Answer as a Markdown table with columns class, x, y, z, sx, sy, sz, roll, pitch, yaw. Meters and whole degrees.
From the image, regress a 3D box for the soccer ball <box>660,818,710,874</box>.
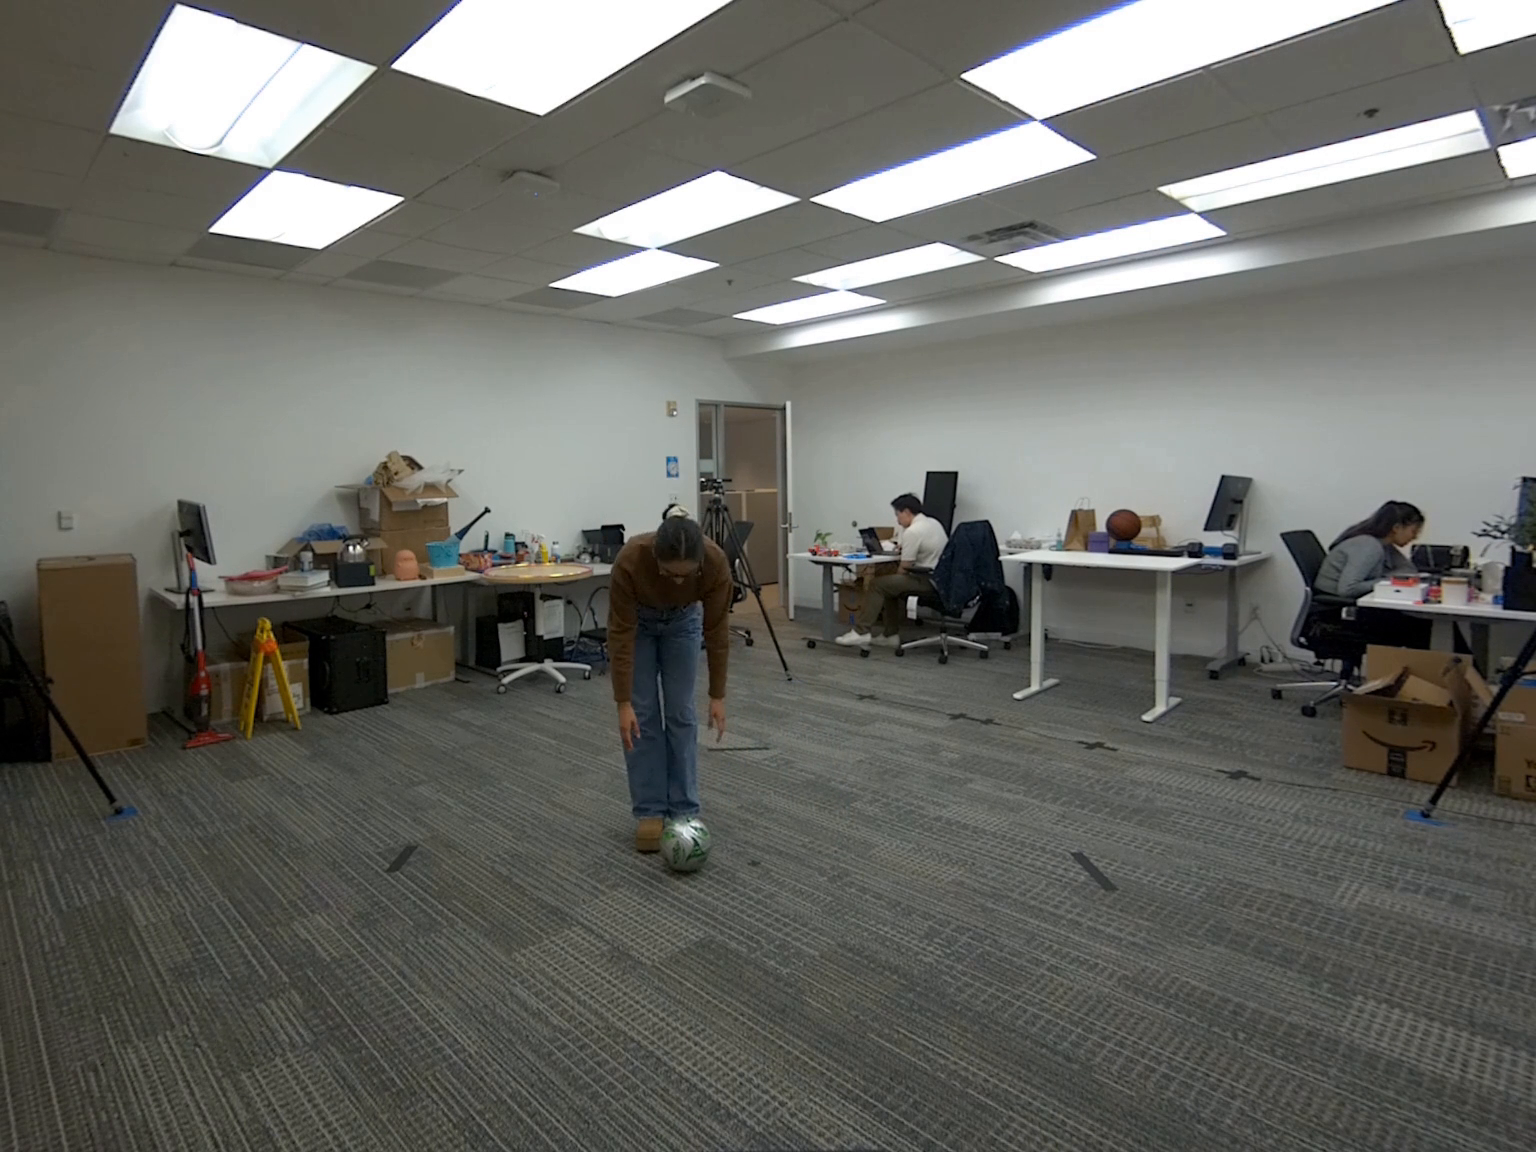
| class | x | y | z | sx | sy | sz | roll | pitch | yaw |
| --- | --- | --- | --- | --- | --- | --- | --- | --- | --- |
| soccer ball | -0.293 | 0.959 | 3.060 | 0.187 | 0.187 | 0.188 | -1 | 5 | -2 |
